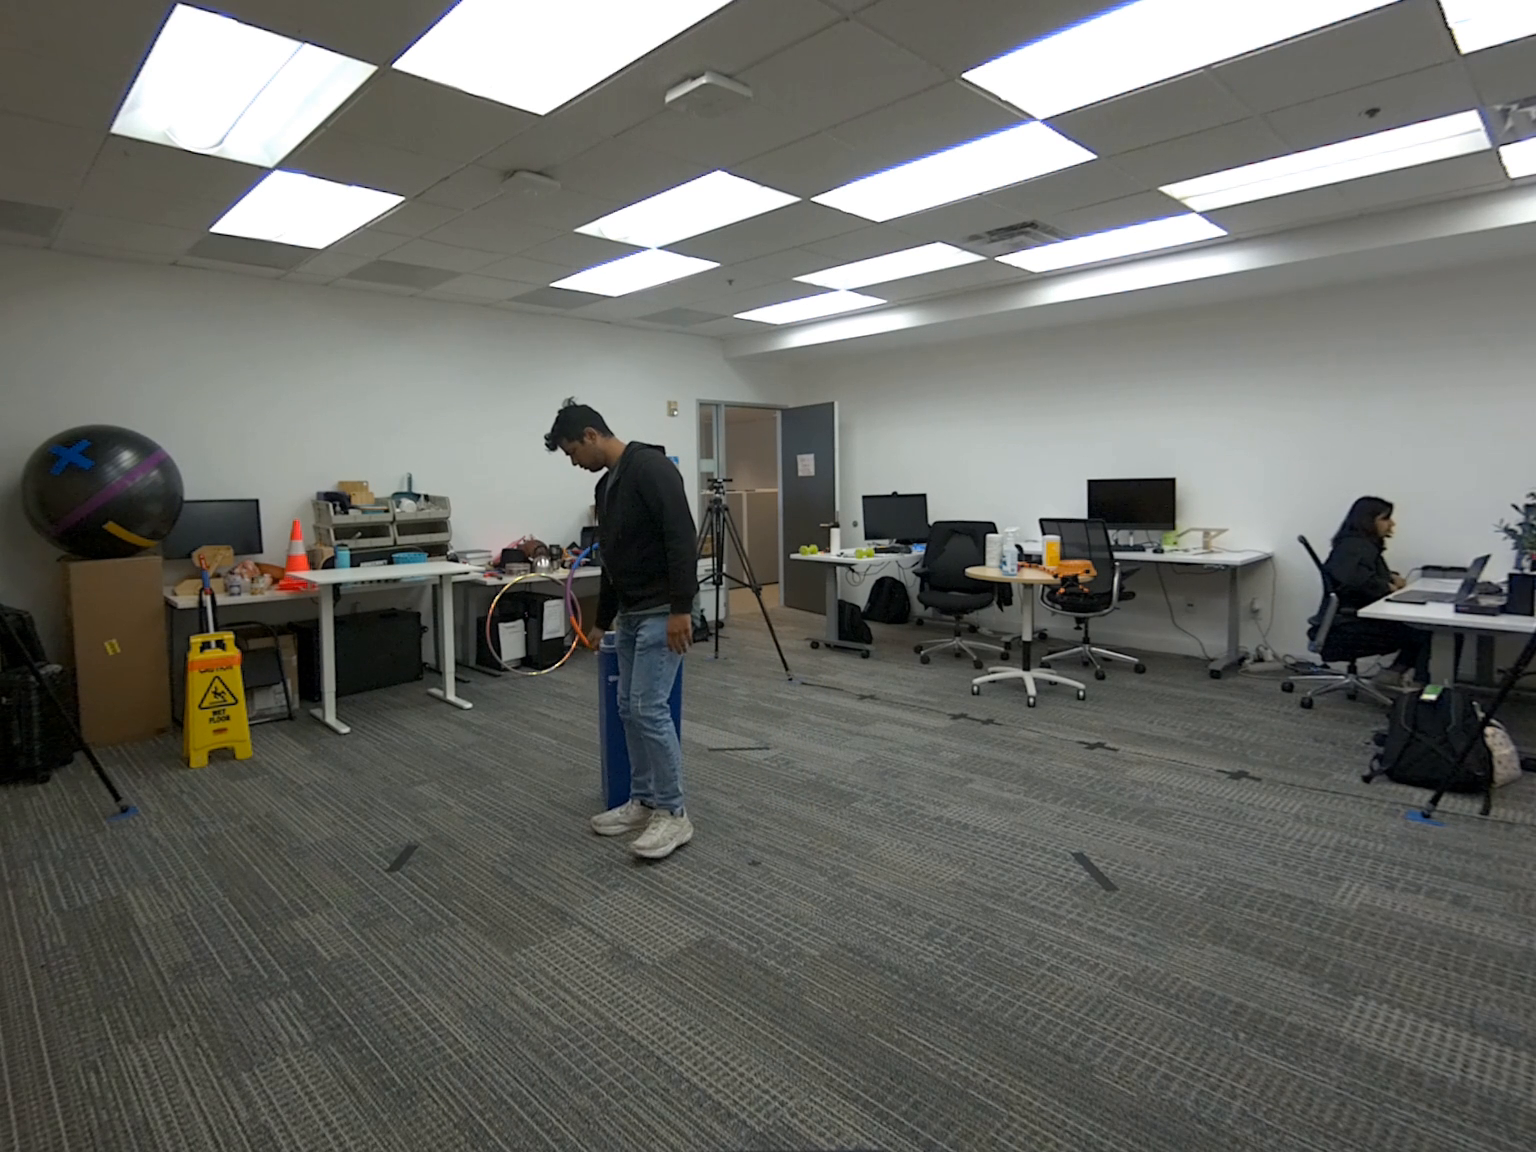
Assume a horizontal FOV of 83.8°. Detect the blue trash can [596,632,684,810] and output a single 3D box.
[{"bbox_3d":[-0.552,0.625,3.740,0.373,0.712,0.380,-1,2,-16],"label":"blue trash can"}]
